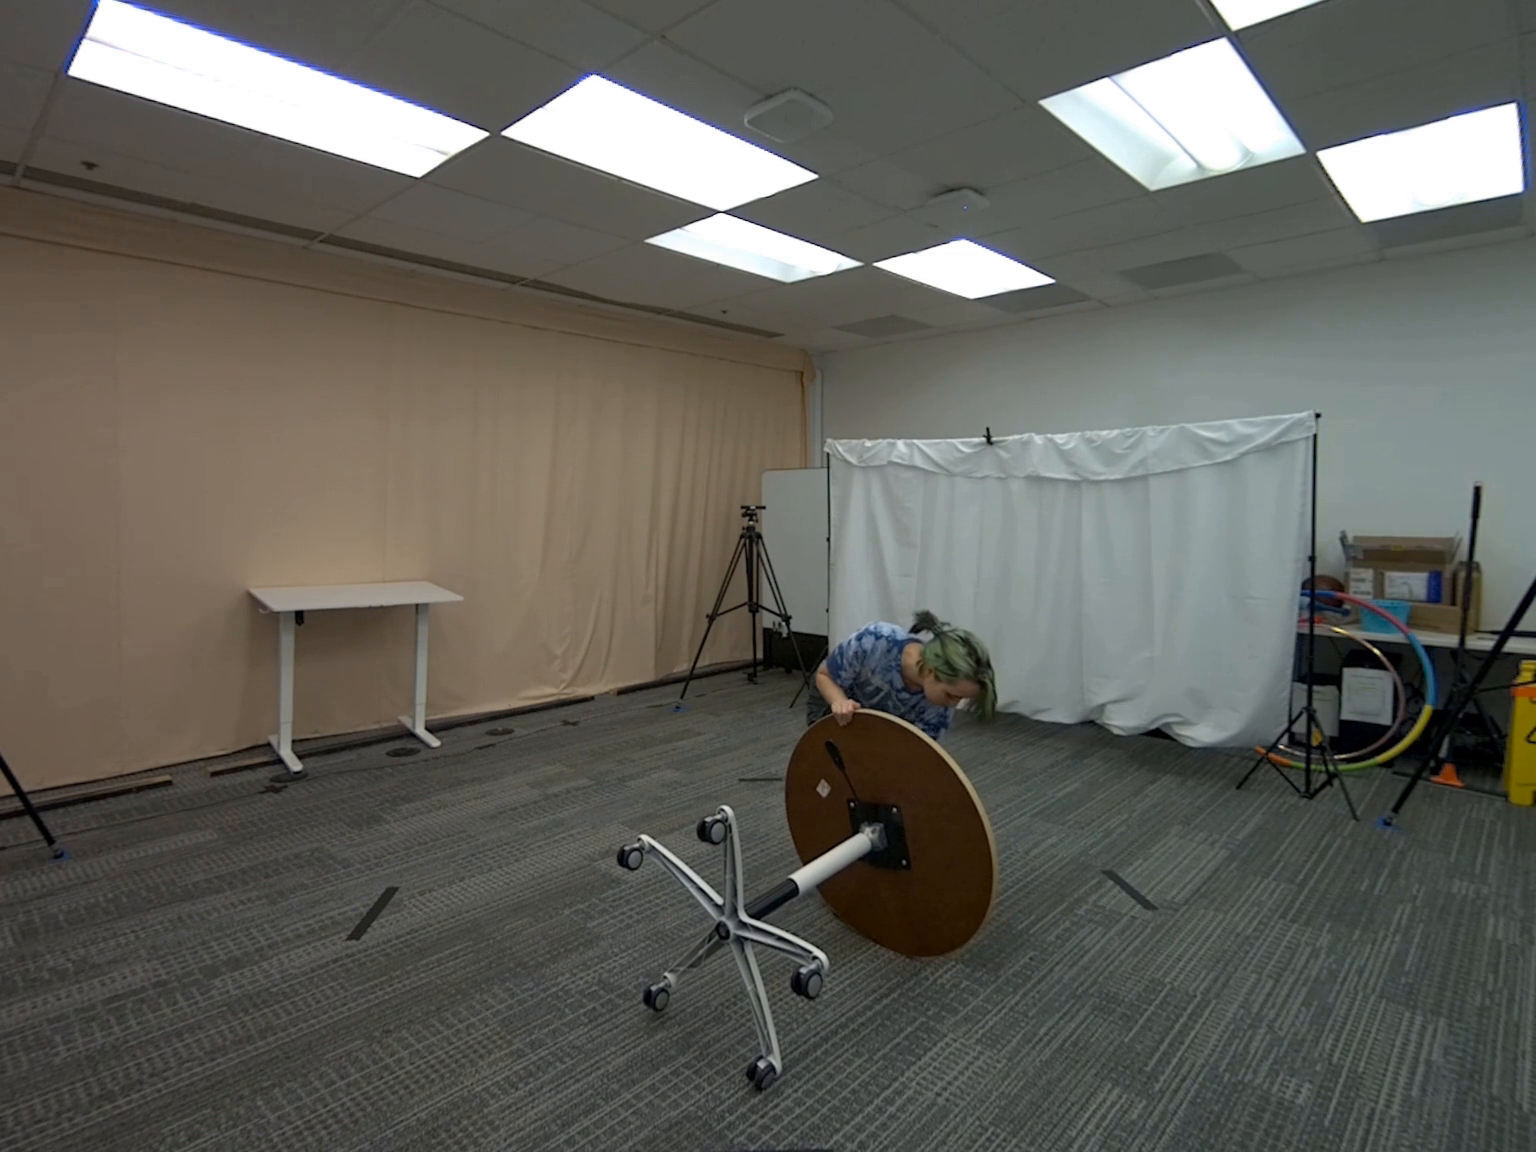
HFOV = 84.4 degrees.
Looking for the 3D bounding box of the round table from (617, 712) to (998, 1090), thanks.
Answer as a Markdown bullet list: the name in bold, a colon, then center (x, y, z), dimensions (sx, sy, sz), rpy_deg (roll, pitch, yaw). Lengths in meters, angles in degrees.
- **round table**: center (0.098, 0.853, 2.350), dimensions (0.789, 0.760, 0.772), rpy_deg (4, 11, 44)
